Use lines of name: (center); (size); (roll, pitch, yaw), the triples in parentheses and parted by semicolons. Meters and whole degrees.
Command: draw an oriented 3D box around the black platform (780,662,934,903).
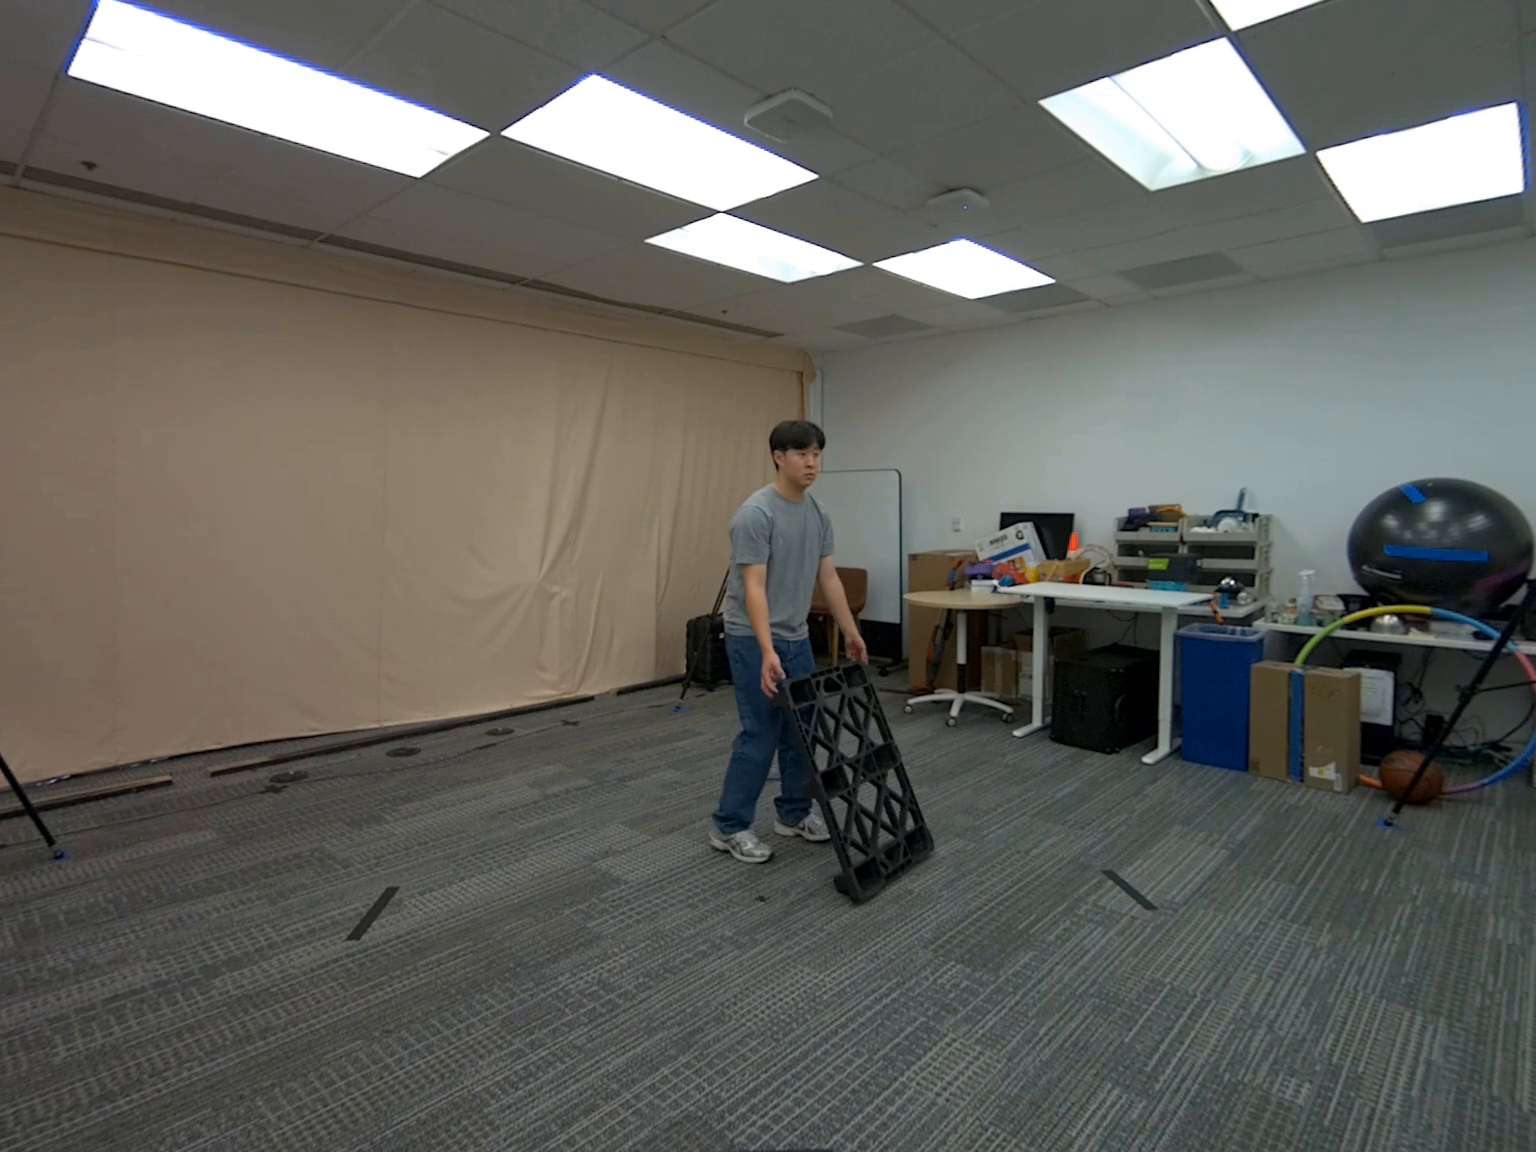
black platform: (0.314, 0.762, 3.236); (0.146, 0.815, 0.587); (-29, -15, 35)
